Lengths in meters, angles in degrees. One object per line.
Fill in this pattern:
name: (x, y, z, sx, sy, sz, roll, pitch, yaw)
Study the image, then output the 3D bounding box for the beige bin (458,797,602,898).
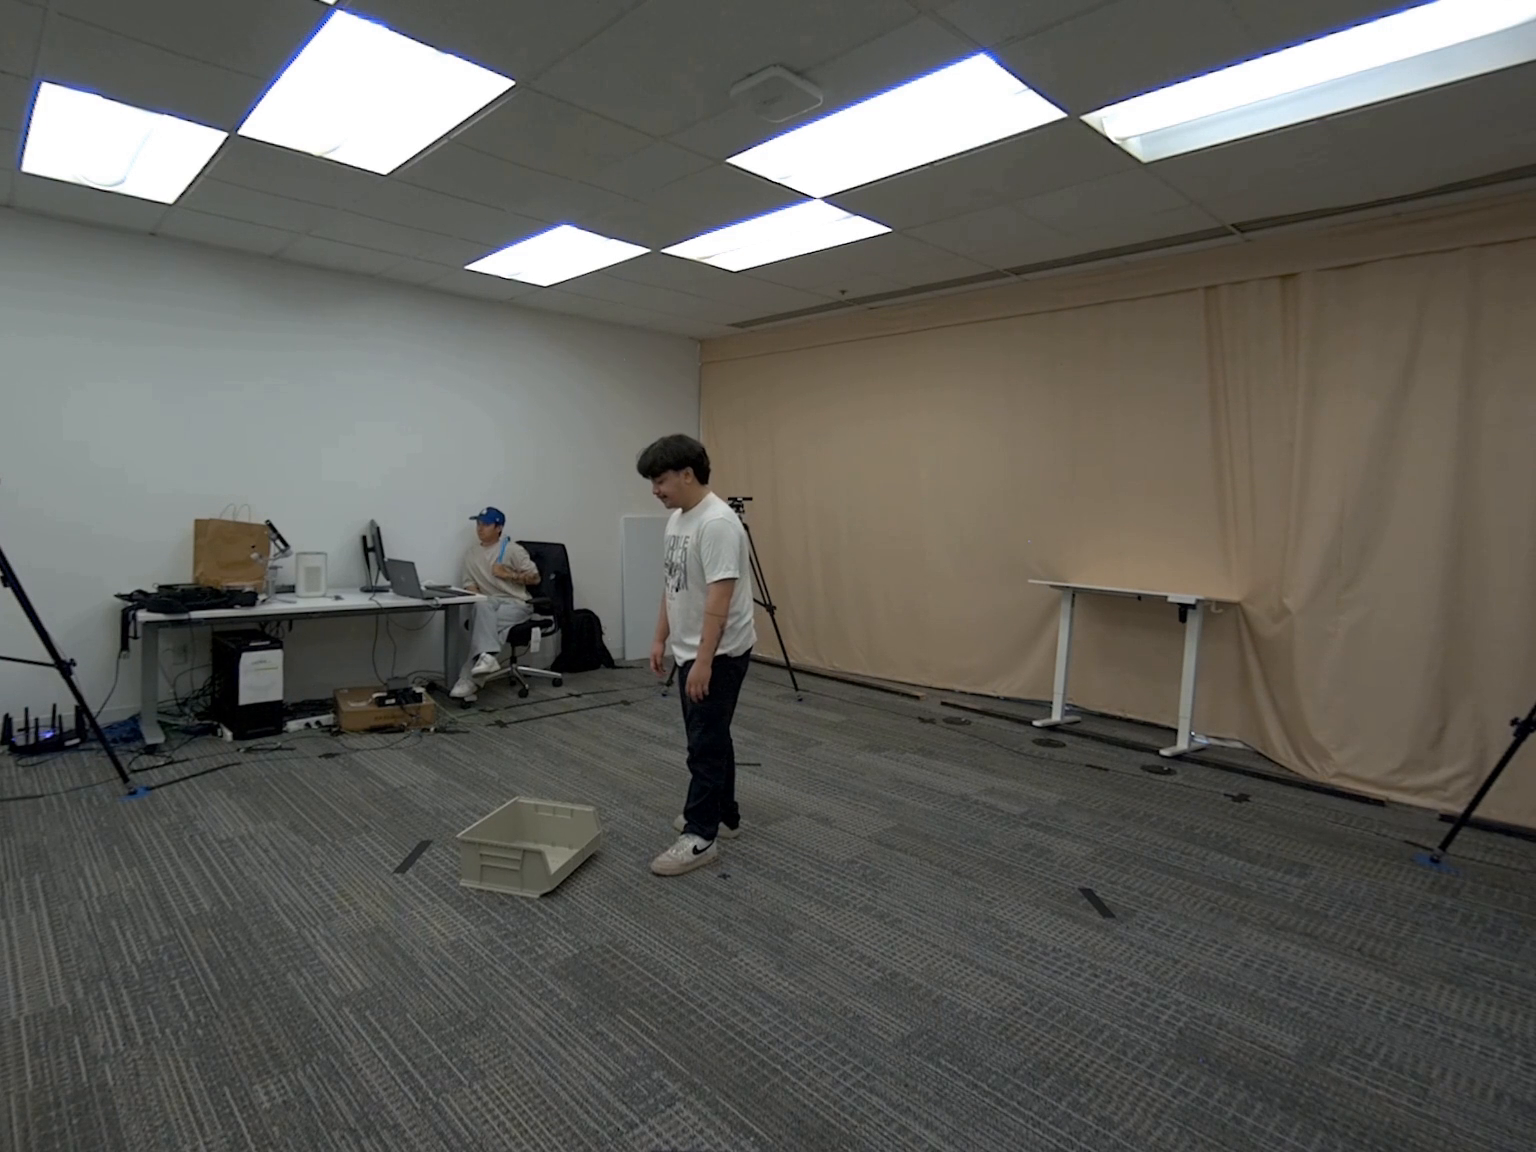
beige bin: (-0.881, 1.002, 3.121, 0.382, 0.188, 0.419, 2, 6, 14)
